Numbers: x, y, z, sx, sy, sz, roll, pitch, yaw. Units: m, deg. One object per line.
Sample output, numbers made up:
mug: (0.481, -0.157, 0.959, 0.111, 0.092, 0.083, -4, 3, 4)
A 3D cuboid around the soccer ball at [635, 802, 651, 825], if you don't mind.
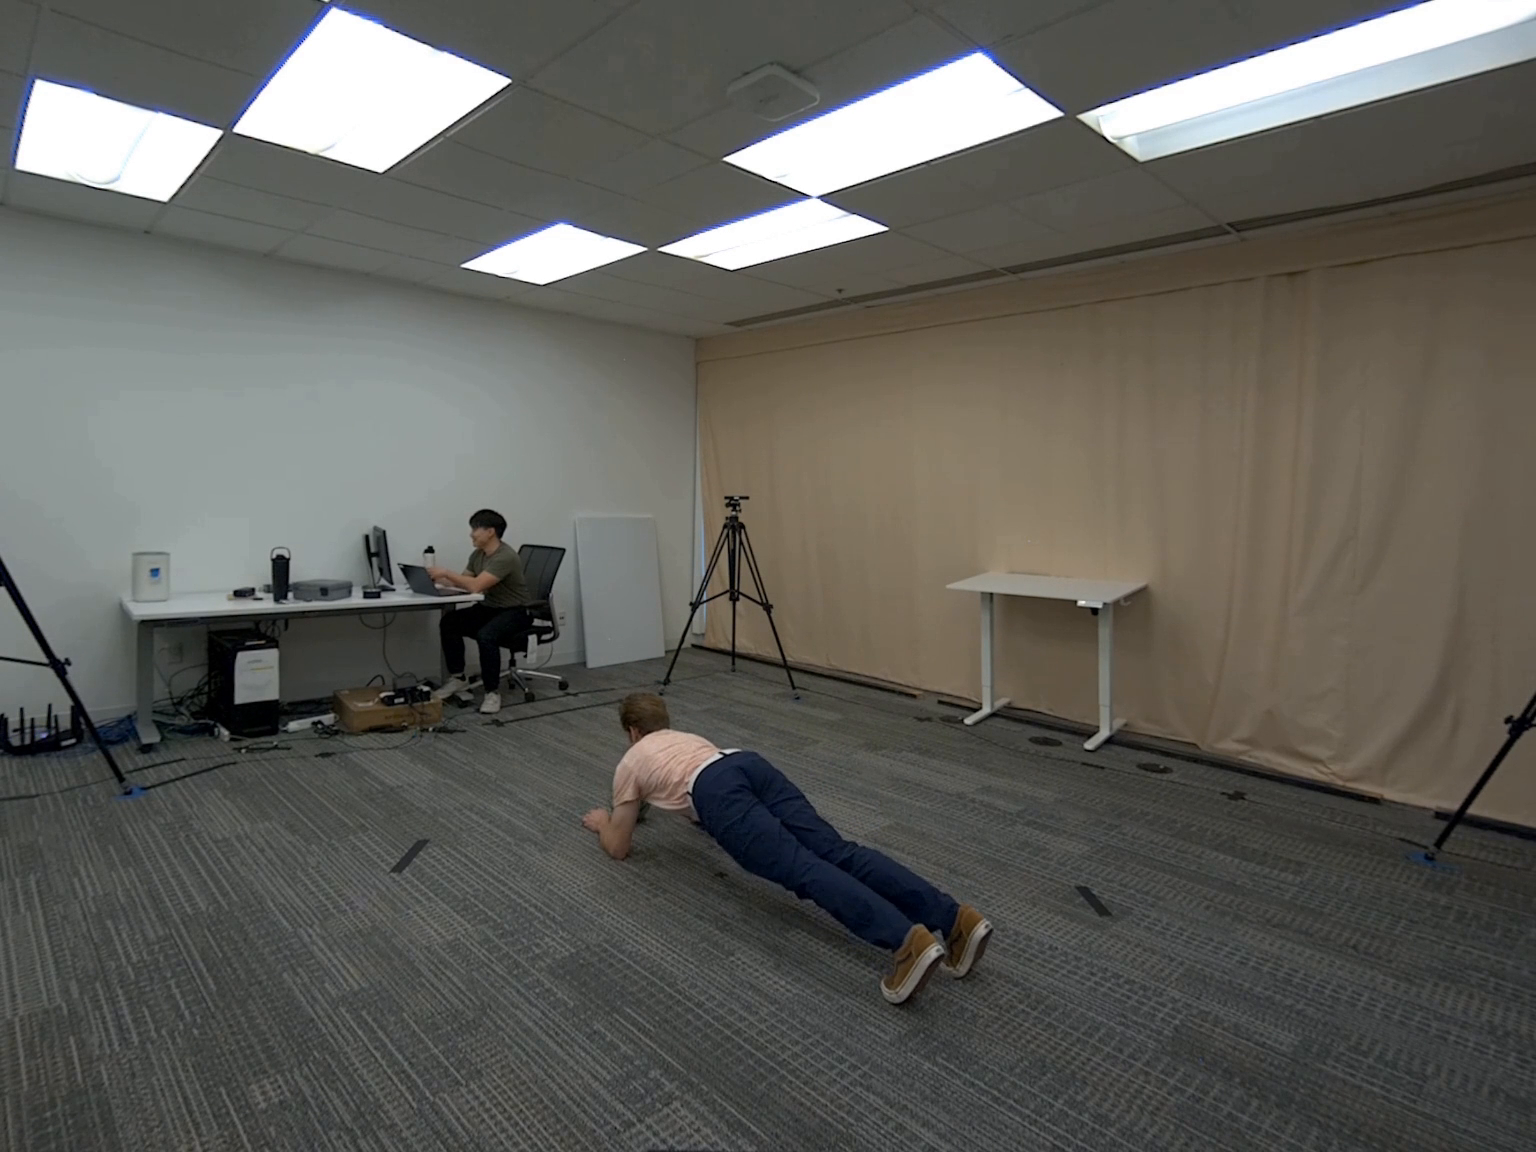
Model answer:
soccer ball: (-0.595, 0.956, 3.613, 0.187, 0.187, 0.188, 1, 4, -1)
